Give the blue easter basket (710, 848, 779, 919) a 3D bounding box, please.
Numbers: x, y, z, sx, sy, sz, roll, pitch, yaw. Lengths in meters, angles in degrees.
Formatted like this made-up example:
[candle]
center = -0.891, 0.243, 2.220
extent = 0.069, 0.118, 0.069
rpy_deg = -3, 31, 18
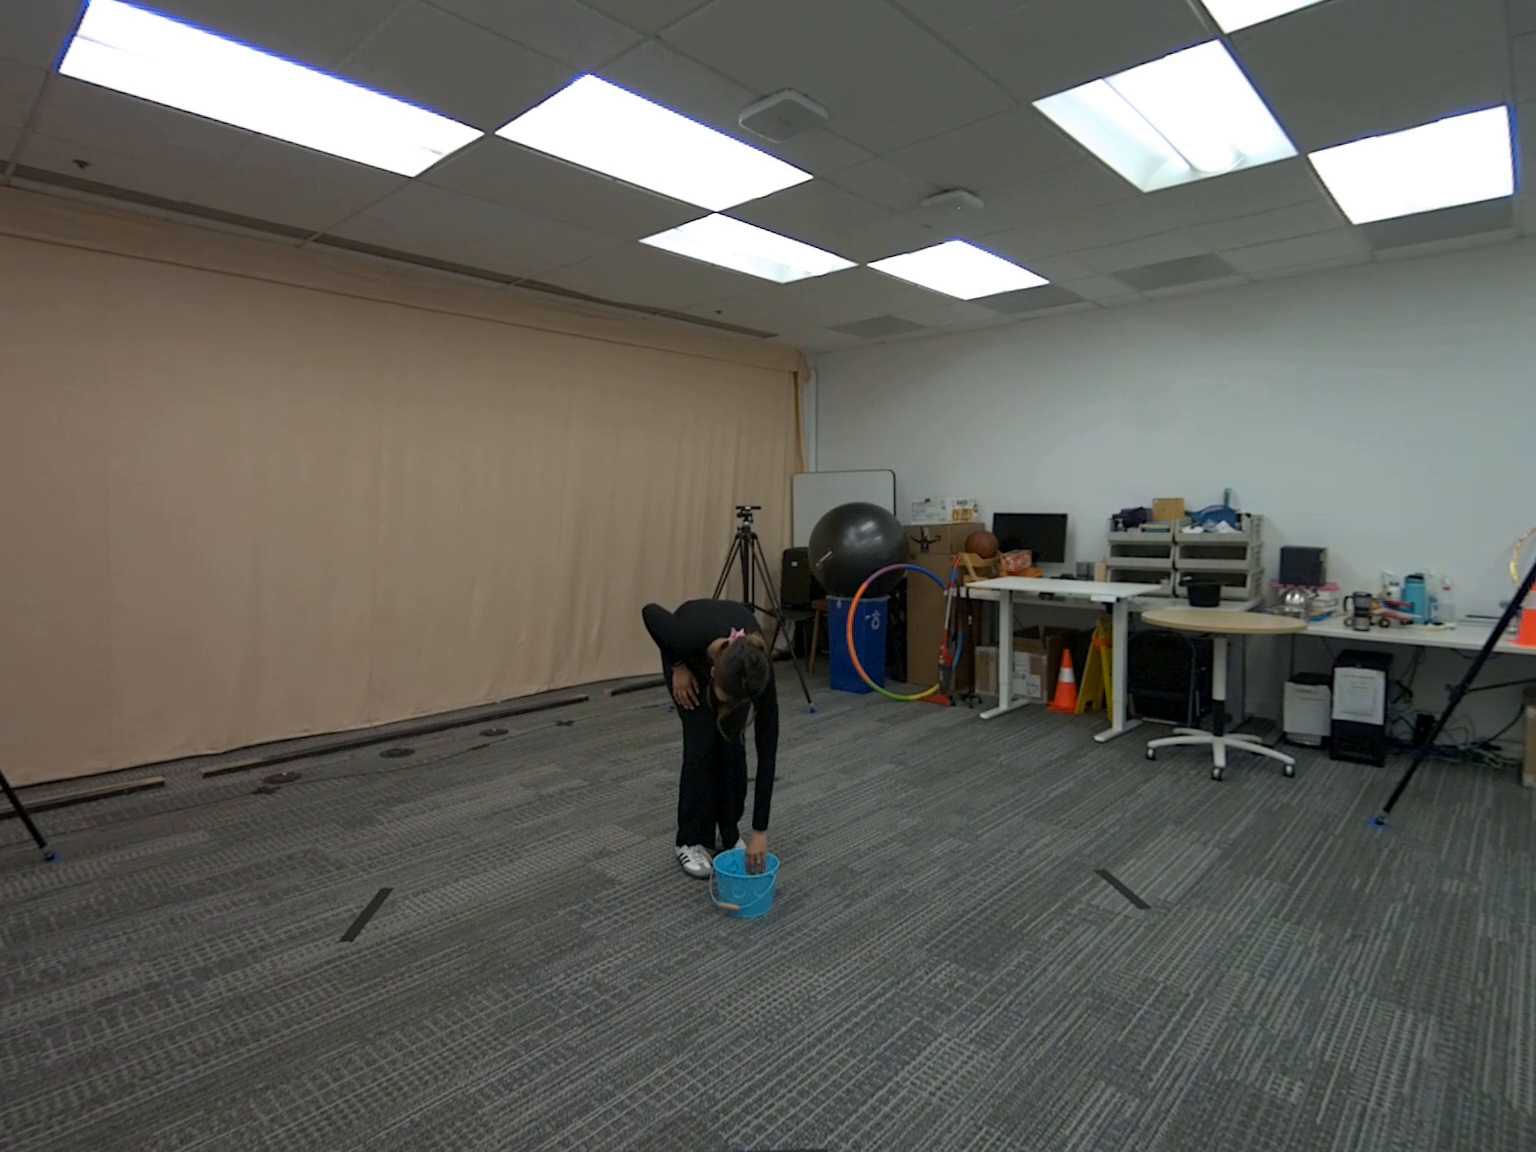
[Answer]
[blue easter basket]
center = -0.070, 1.069, 2.939
extent = 0.243, 0.155, 0.244
rpy_deg = 0, 4, -2
